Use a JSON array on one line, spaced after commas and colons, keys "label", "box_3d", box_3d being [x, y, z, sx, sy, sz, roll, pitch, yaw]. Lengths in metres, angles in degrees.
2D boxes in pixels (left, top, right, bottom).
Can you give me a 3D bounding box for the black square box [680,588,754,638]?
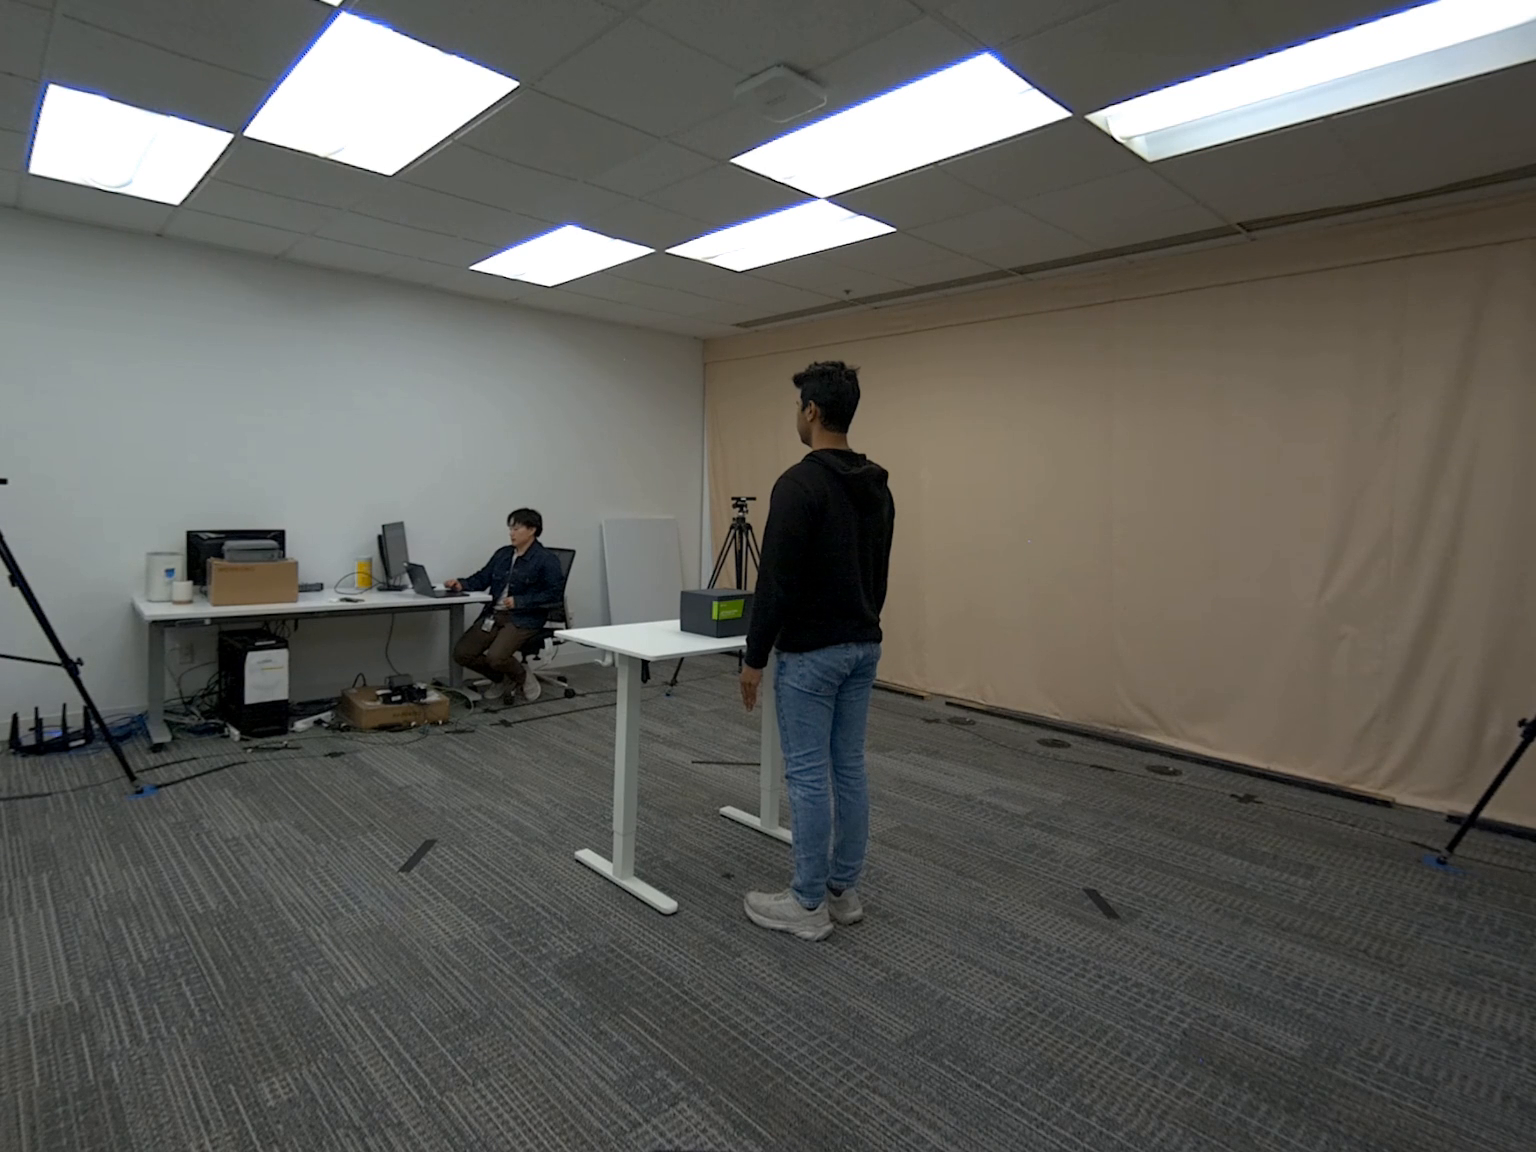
[{"label": "black square box", "box_3d": [-0.183, 0.136, 3.201, 0.222, 0.155, 0.222, 6, 6, 44]}]
